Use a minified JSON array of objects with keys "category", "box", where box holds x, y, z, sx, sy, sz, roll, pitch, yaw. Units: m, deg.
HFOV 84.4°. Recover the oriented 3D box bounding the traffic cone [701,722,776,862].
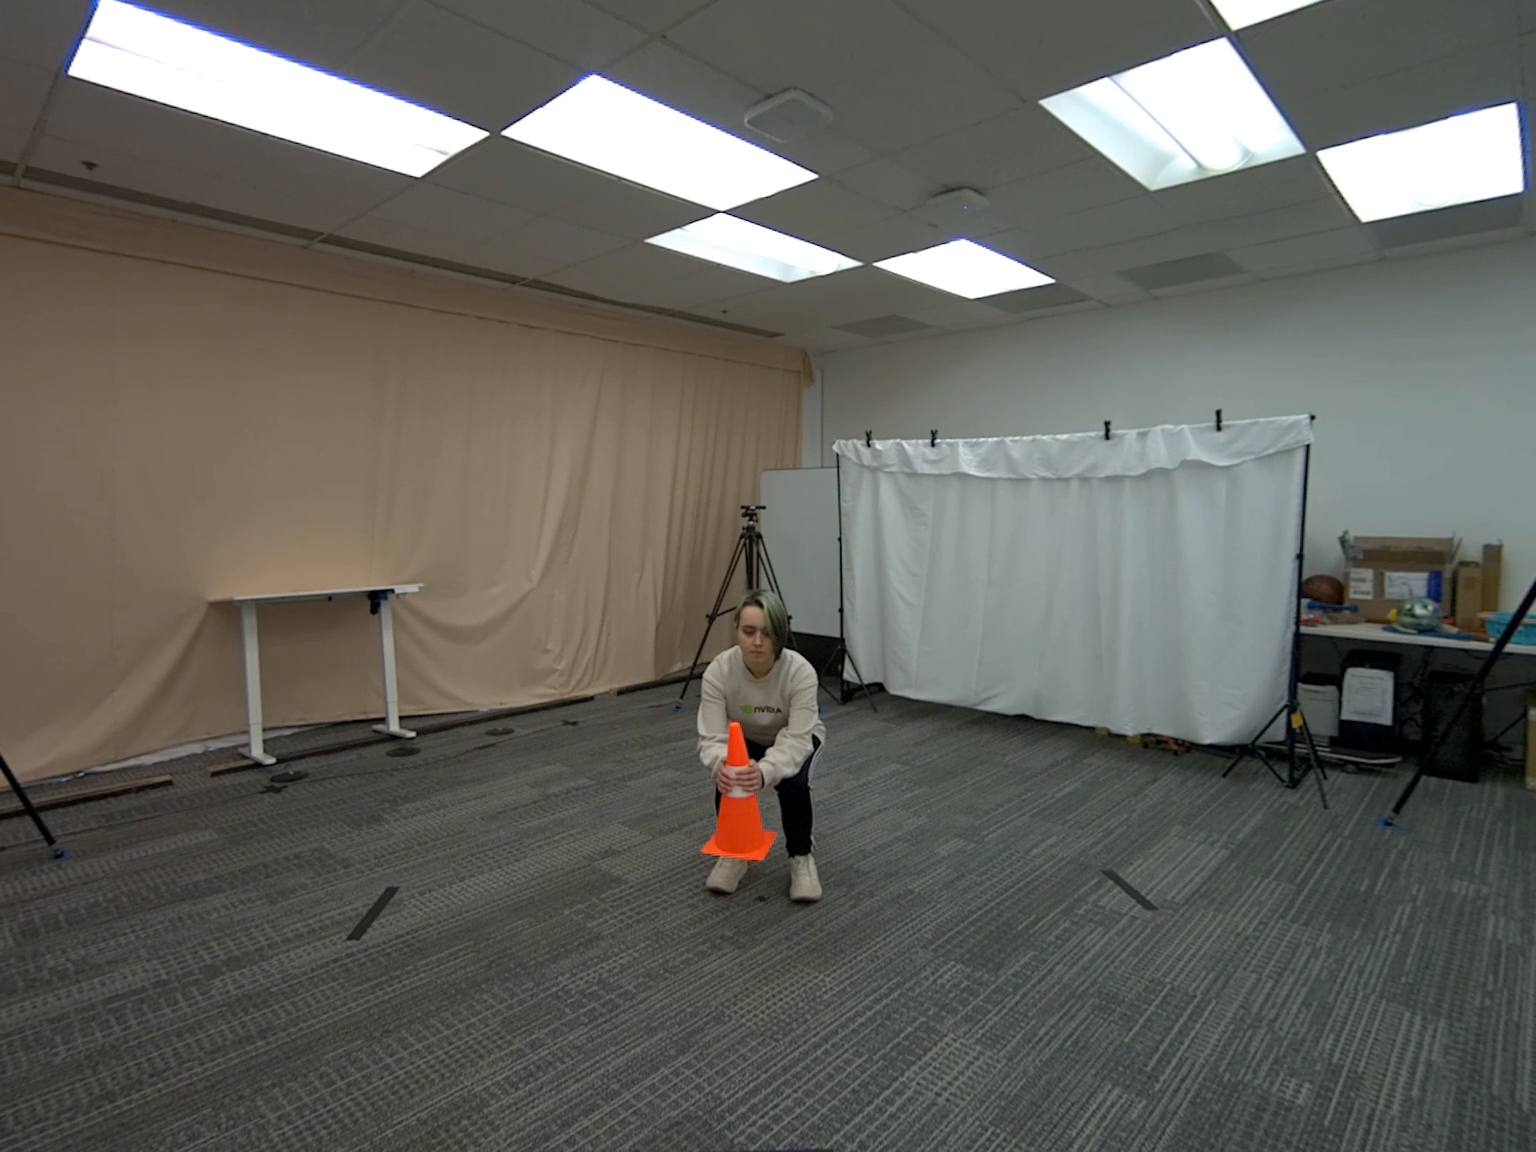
[{"category":"traffic cone","box":[-0.095,0.634,2.599,0.209,0.382,0.200,0,5,19]}]
